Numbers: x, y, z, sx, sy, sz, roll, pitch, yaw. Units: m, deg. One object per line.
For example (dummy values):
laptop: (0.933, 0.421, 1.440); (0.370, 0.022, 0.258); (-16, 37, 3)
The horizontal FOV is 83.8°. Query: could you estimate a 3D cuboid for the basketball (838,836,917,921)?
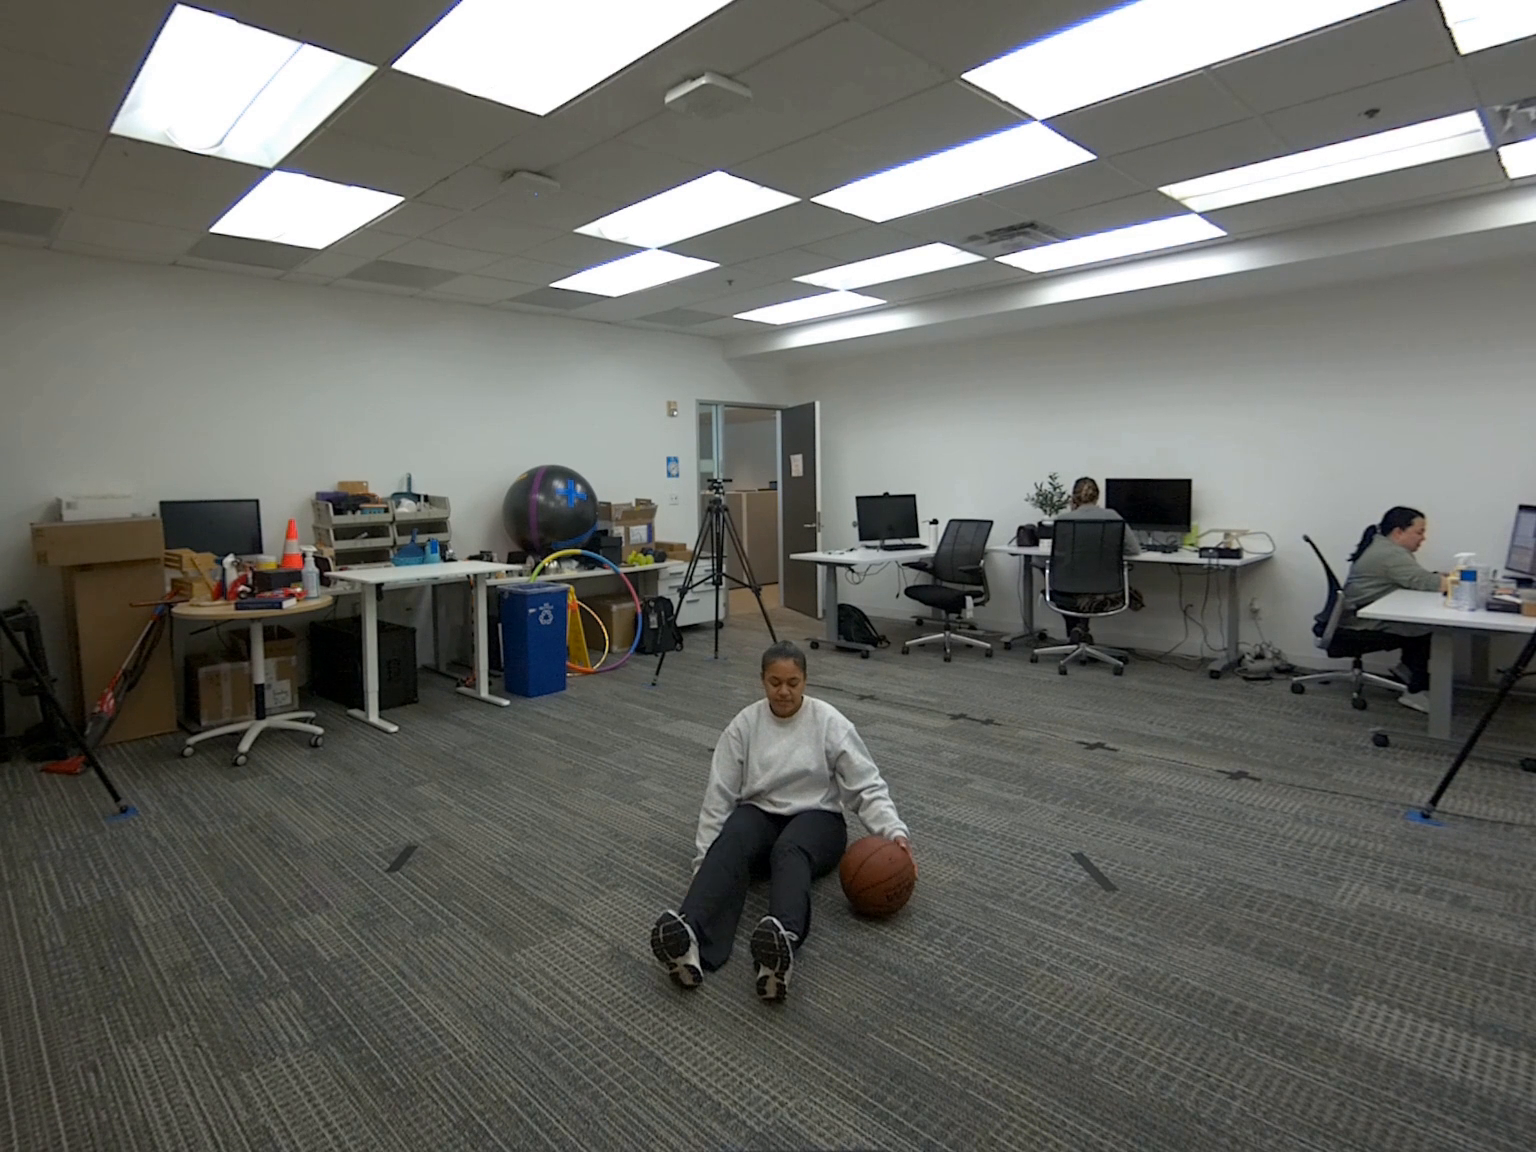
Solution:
basketball: (0.352, 0.963, 2.740); (0.236, 0.235, 0.237); (-1, 5, -2)
